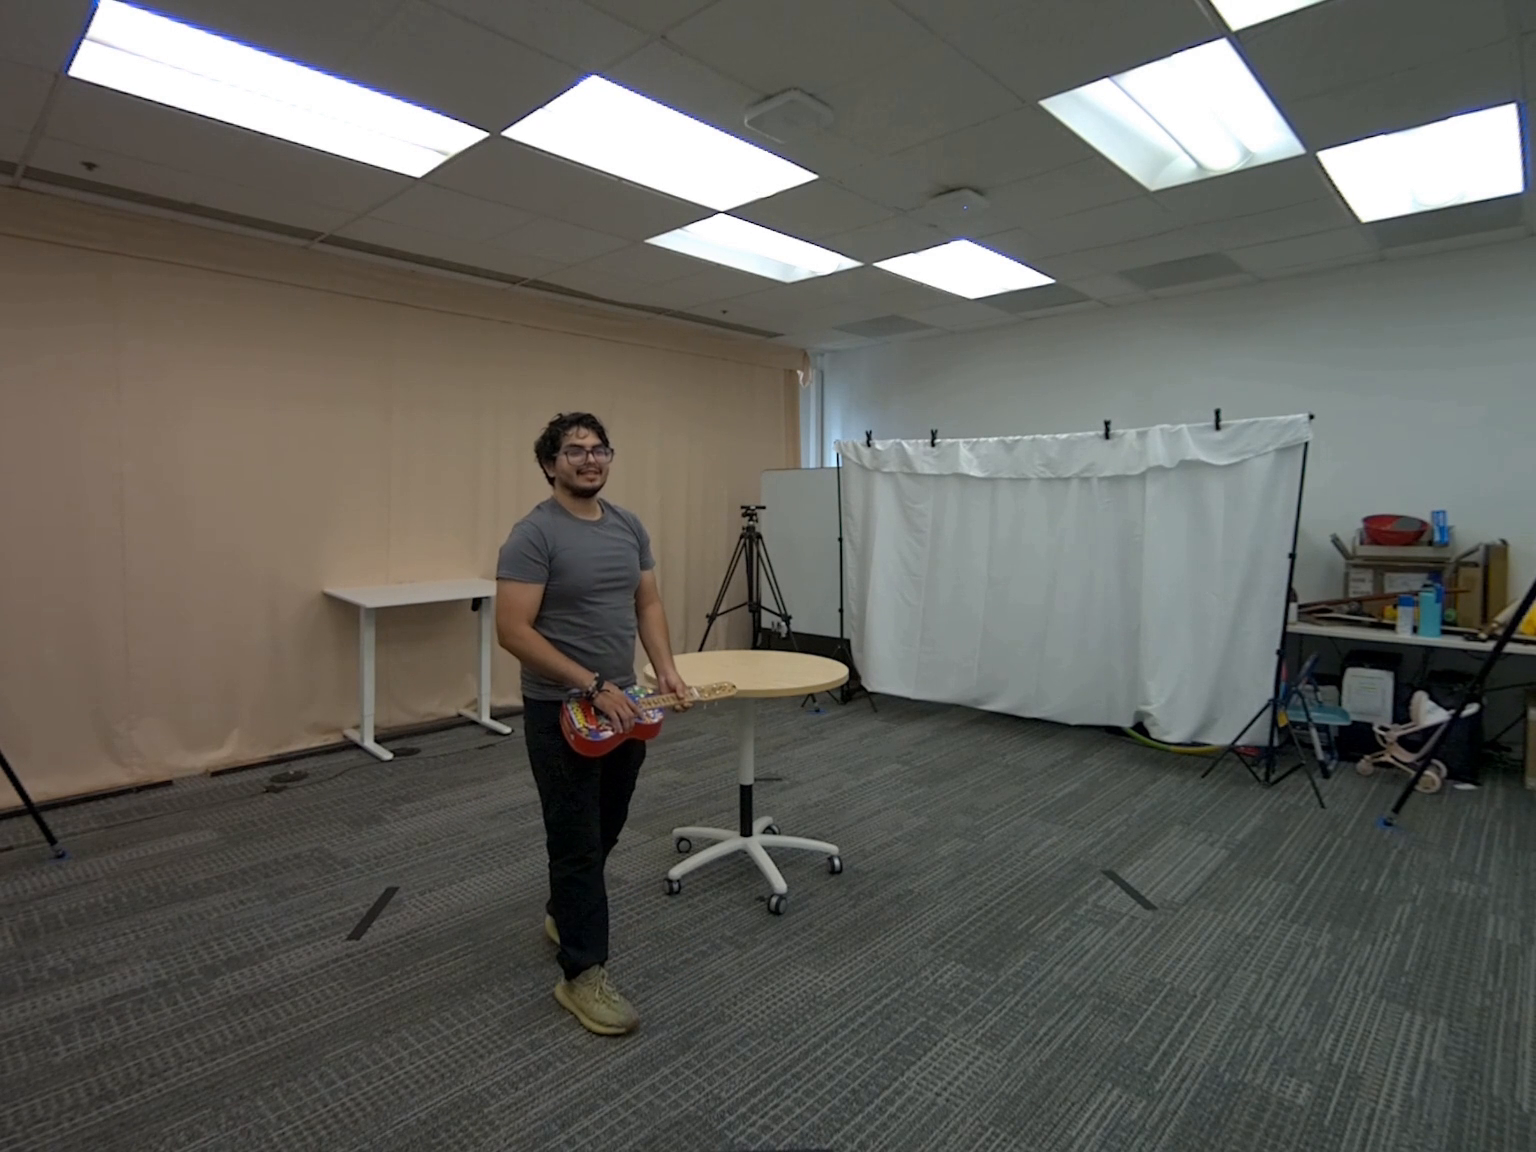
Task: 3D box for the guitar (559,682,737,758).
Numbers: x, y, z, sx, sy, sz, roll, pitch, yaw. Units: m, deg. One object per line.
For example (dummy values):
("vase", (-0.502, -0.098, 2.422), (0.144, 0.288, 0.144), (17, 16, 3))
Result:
("guitar", (-0.295, 0.378, 2.257), (0.486, 0.070, 0.199), (1, 36, -22))
